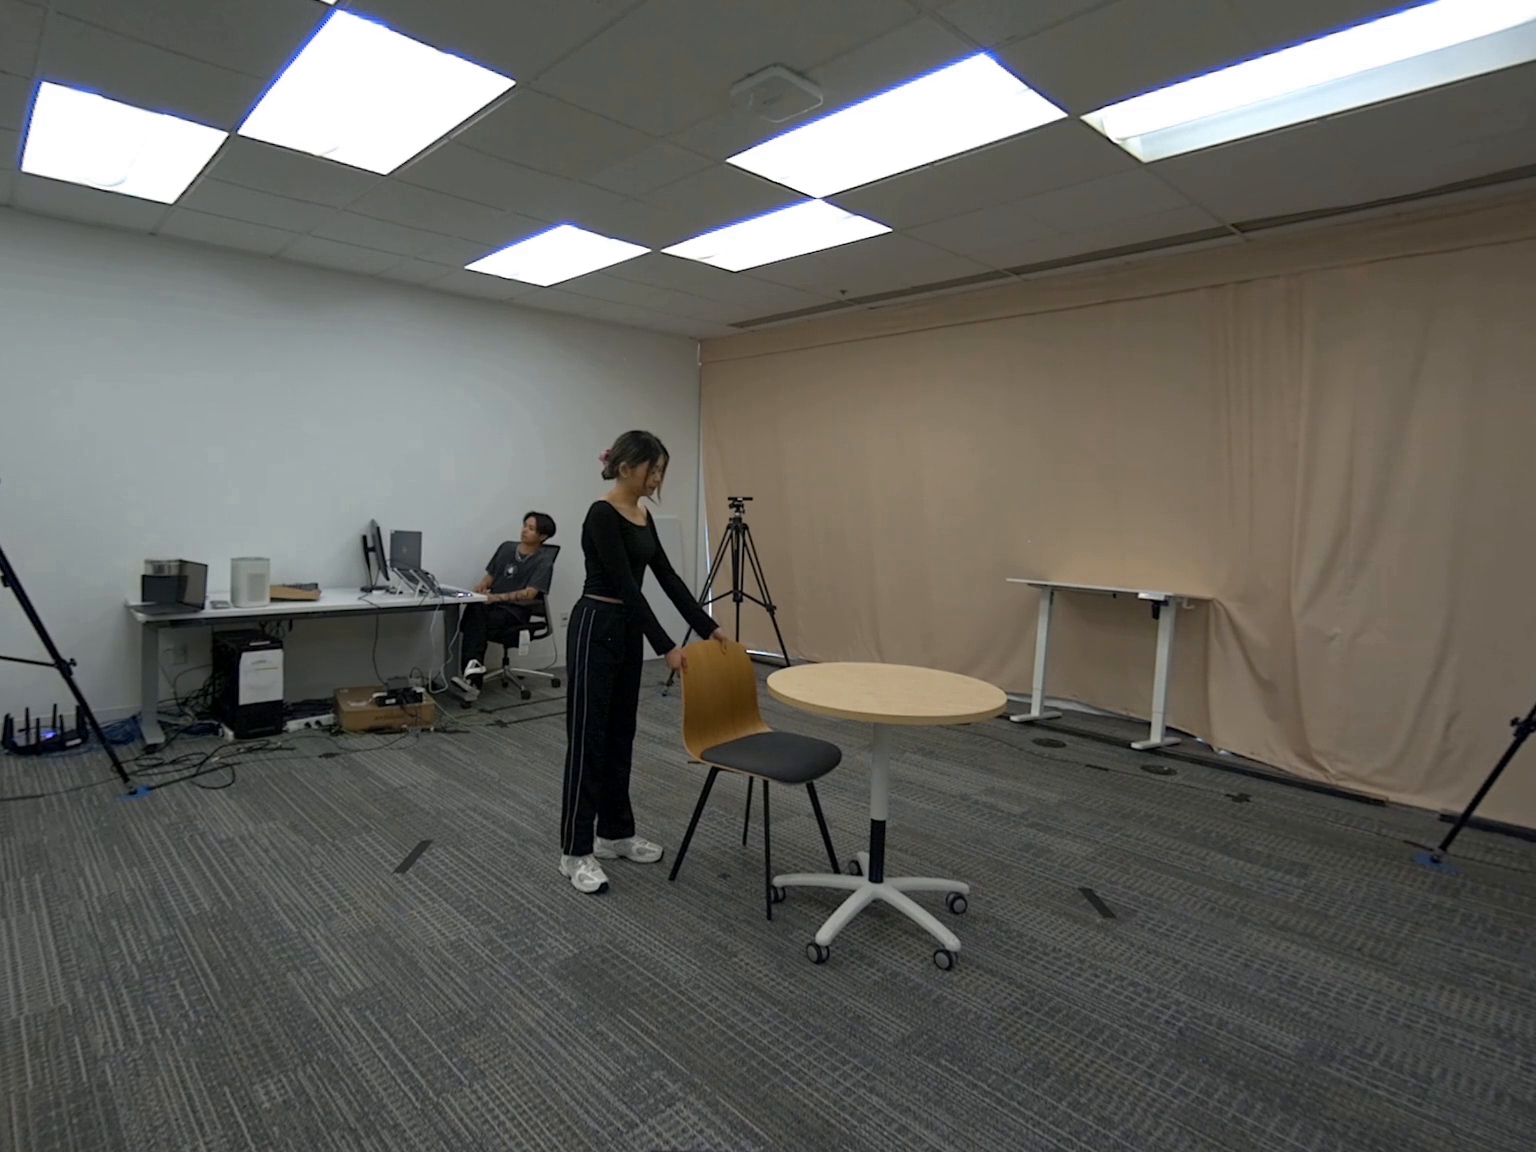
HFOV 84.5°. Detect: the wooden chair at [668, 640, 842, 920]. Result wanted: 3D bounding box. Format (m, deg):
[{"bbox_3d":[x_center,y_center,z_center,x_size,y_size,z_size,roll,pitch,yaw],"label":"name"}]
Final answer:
[{"bbox_3d":[-0.039,0.682,3.059,0.535,0.877,0.467,-2,1,38],"label":"wooden chair"}]
